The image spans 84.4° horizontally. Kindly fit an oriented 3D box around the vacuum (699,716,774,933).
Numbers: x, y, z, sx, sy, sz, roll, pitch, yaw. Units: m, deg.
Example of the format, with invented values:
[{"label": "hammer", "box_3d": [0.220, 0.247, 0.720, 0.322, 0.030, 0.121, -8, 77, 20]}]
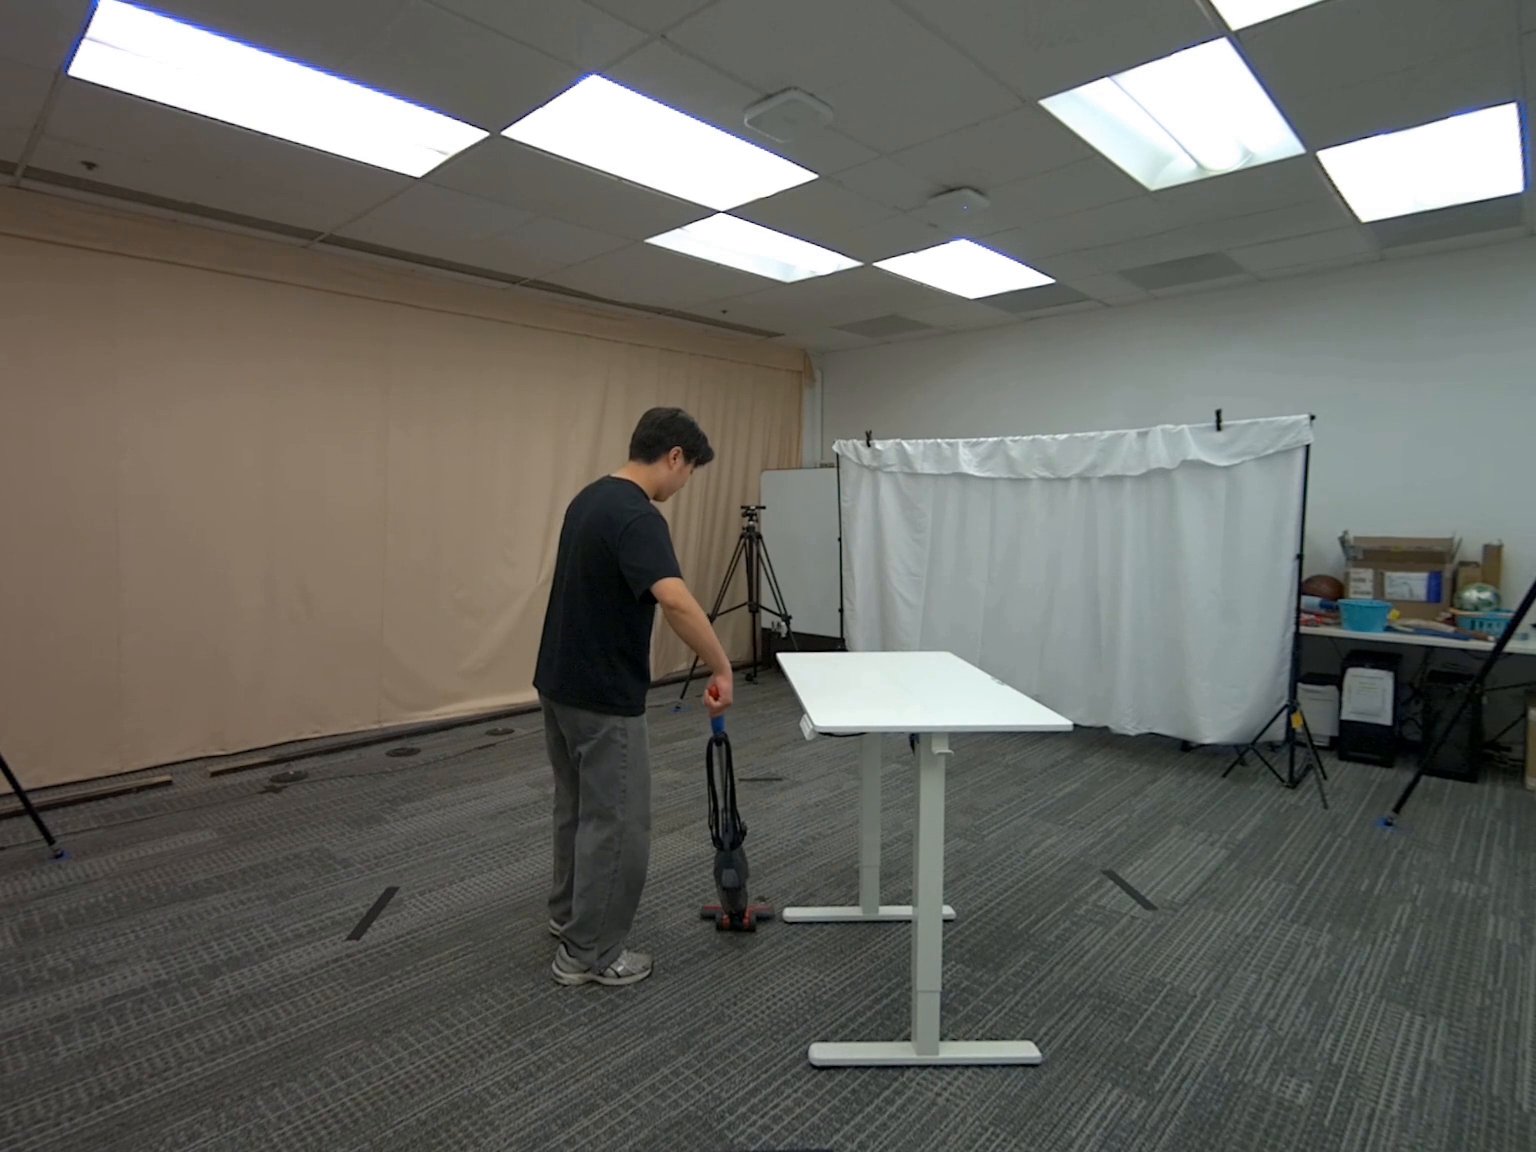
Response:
[{"label": "vacuum", "box_3d": [-0.130, 0.741, 2.510, 0.255, 1.028, 0.145, 2, 37, 8]}]
